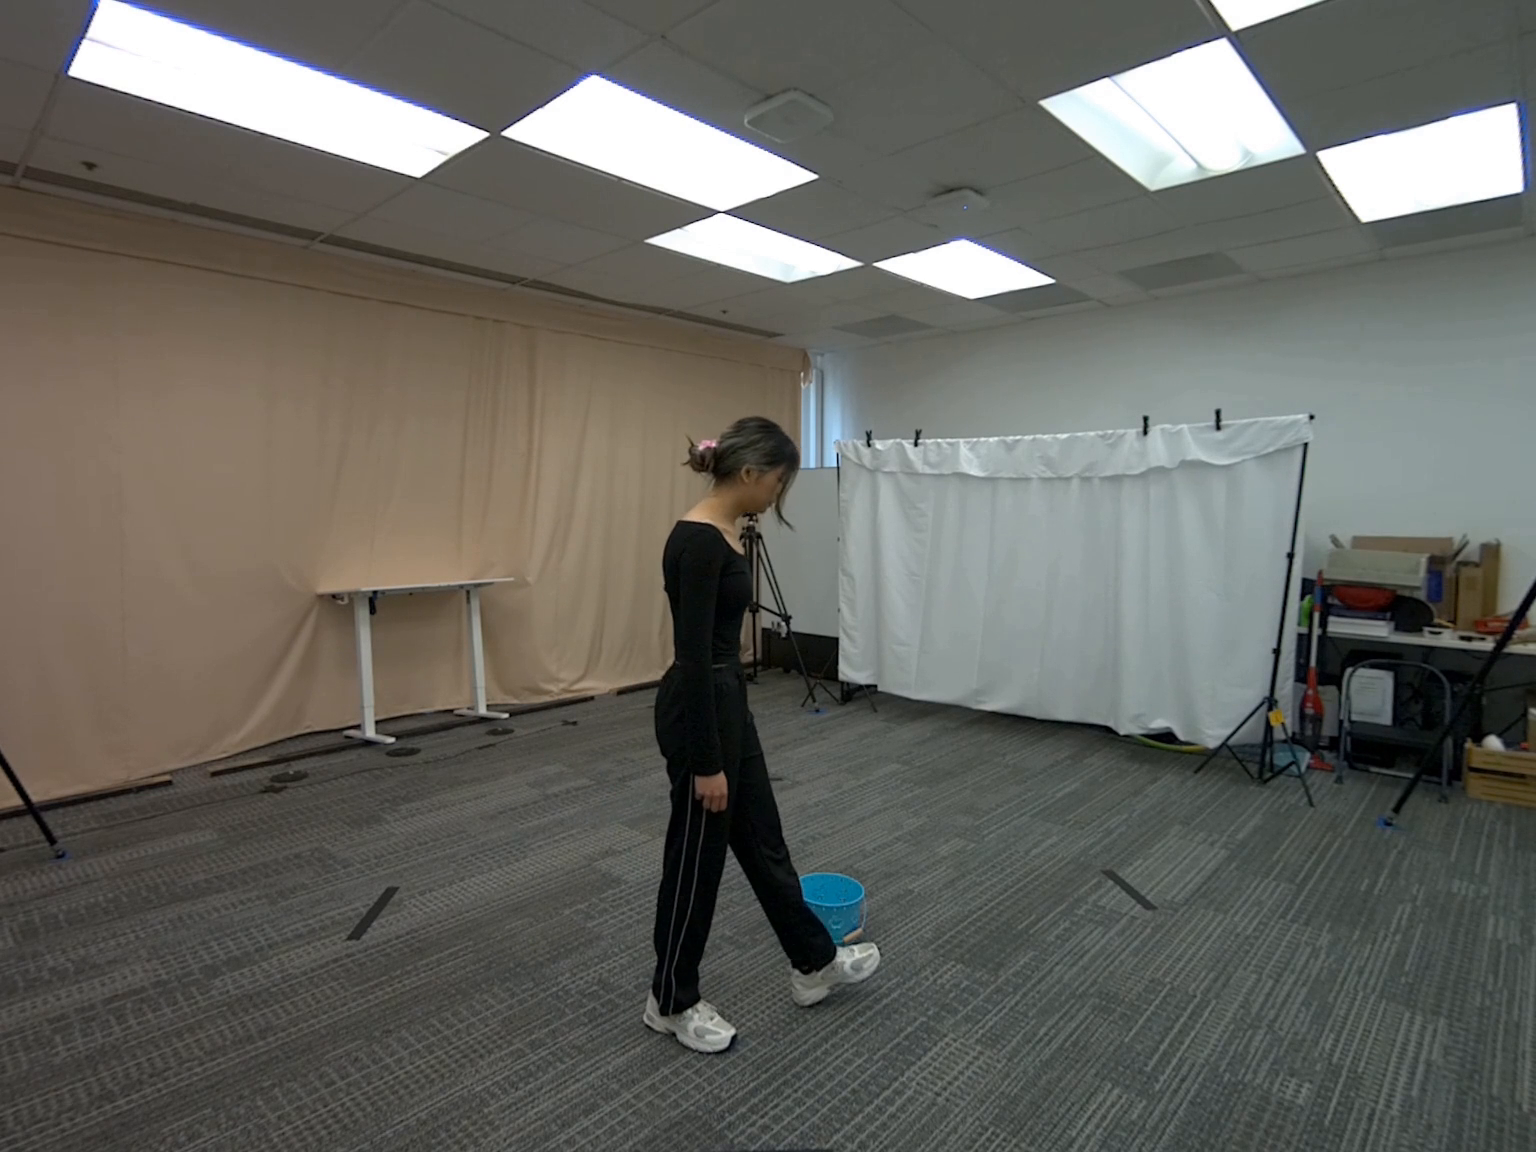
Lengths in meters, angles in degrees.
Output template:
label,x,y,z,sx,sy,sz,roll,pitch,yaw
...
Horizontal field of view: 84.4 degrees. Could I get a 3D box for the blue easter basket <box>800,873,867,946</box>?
label,x,y,z,sx,sy,sz,roll,pitch,yaw
blue easter basket,0.198,1.086,2.723,0.243,0.155,0.244,0,4,-2
